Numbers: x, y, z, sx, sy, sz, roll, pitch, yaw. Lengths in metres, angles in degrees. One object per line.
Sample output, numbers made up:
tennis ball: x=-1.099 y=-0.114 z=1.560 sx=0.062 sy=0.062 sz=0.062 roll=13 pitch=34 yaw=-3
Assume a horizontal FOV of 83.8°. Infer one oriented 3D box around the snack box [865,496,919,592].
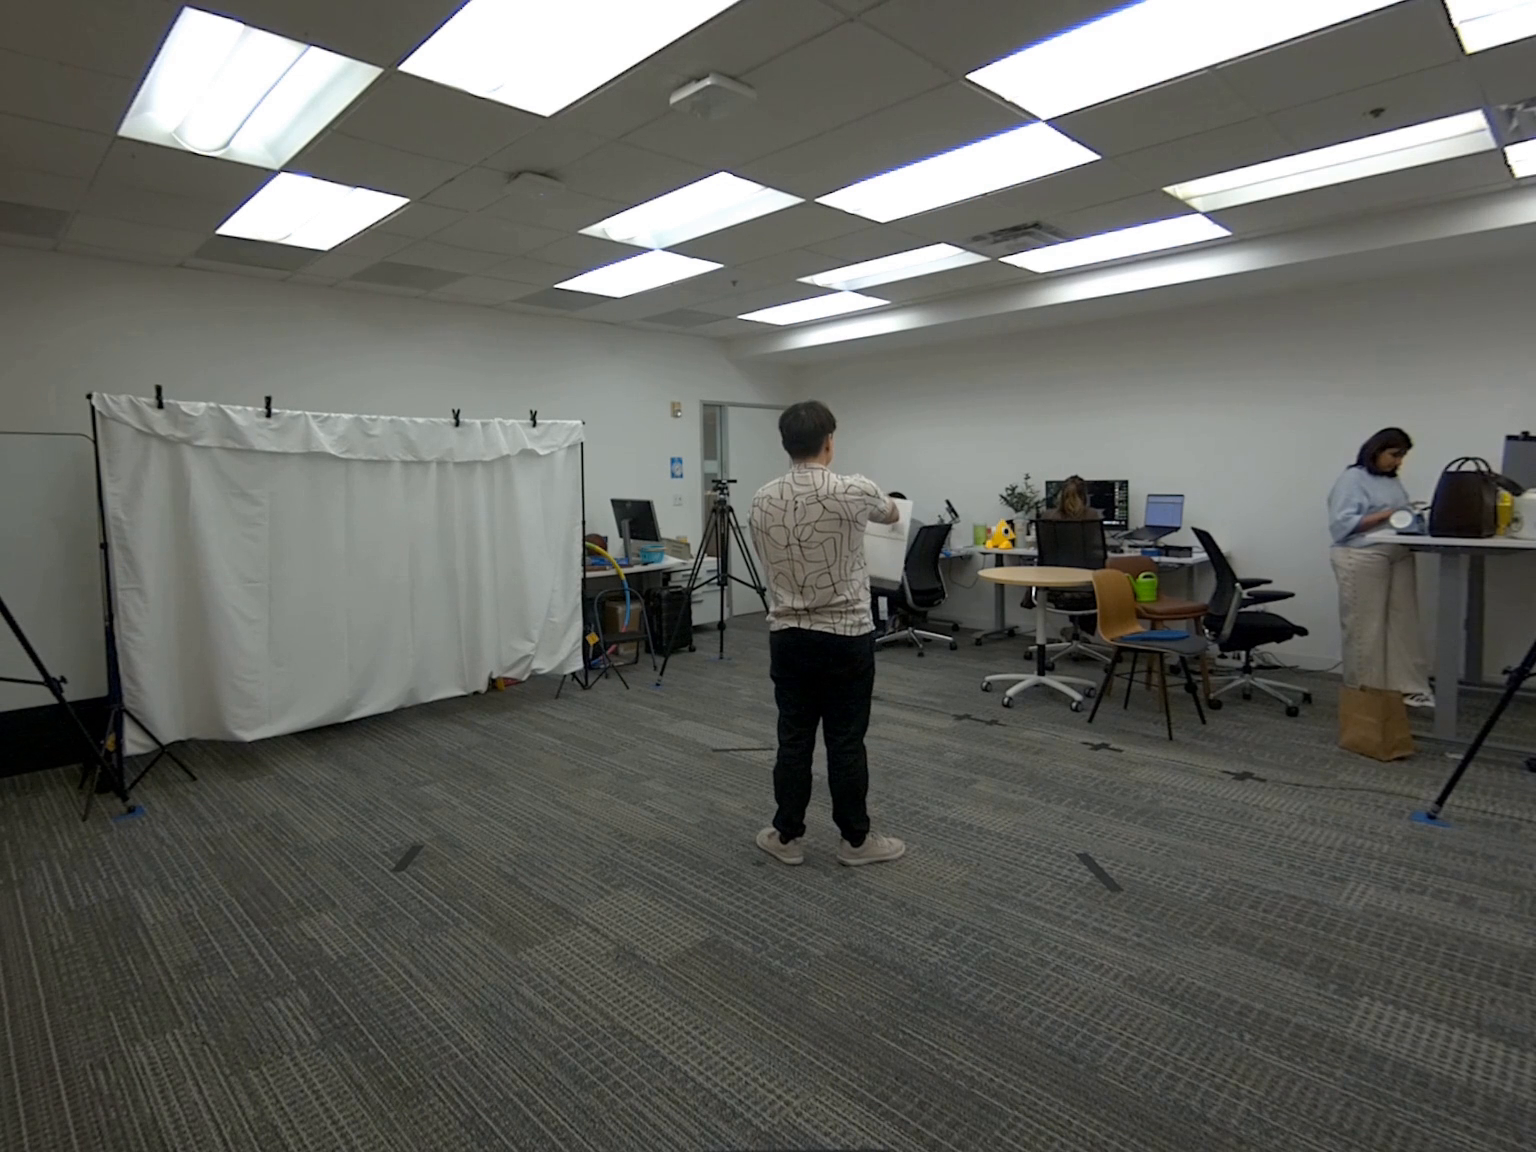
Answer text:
snack box: x=0.372 y=-0.156 z=3.520 sx=0.409 sy=0.343 sz=0.202 roll=11 pitch=-10 yaw=7
